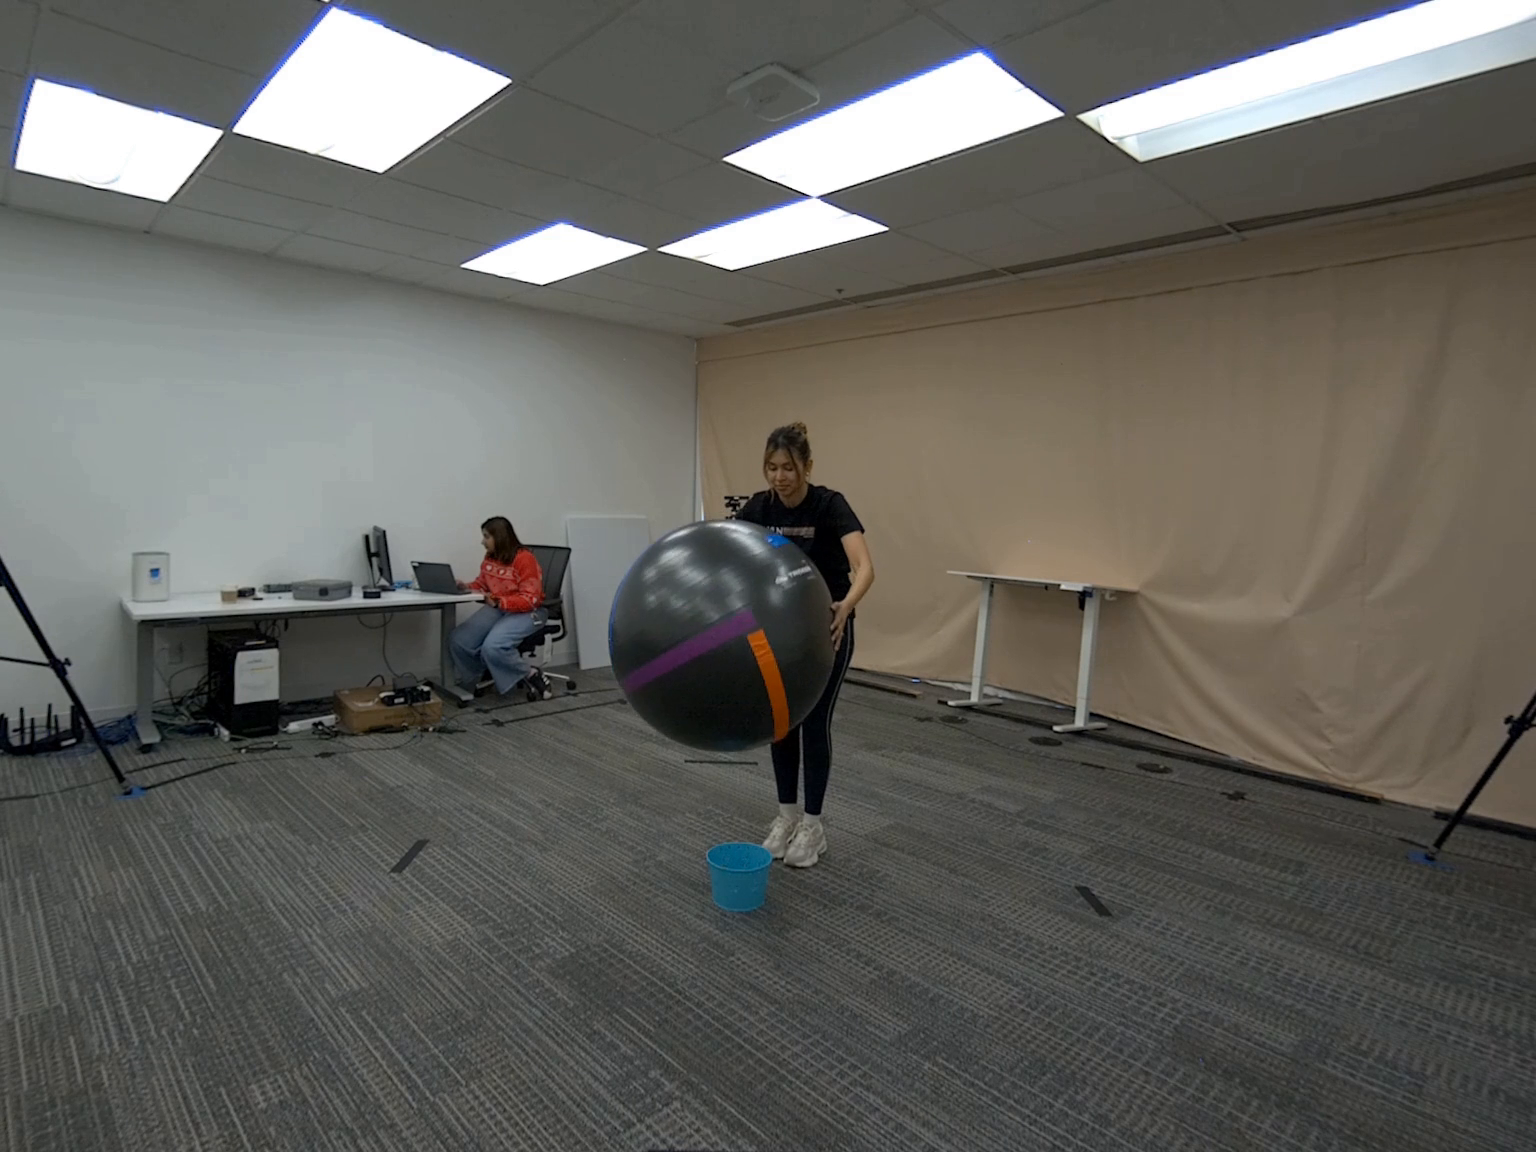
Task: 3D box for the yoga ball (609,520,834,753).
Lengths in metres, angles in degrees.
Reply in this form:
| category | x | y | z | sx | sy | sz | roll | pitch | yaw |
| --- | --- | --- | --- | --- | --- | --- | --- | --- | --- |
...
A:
| category | x | y | z | sx | sy | sz | roll | pitch | yaw |
| --- | --- | --- | --- | --- | --- | --- | --- | --- | --- |
| yoga ball | -0.154 | 0.197 | 2.767 | 0.757 | 0.756 | 0.761 | 1 | 4 | -1 |
